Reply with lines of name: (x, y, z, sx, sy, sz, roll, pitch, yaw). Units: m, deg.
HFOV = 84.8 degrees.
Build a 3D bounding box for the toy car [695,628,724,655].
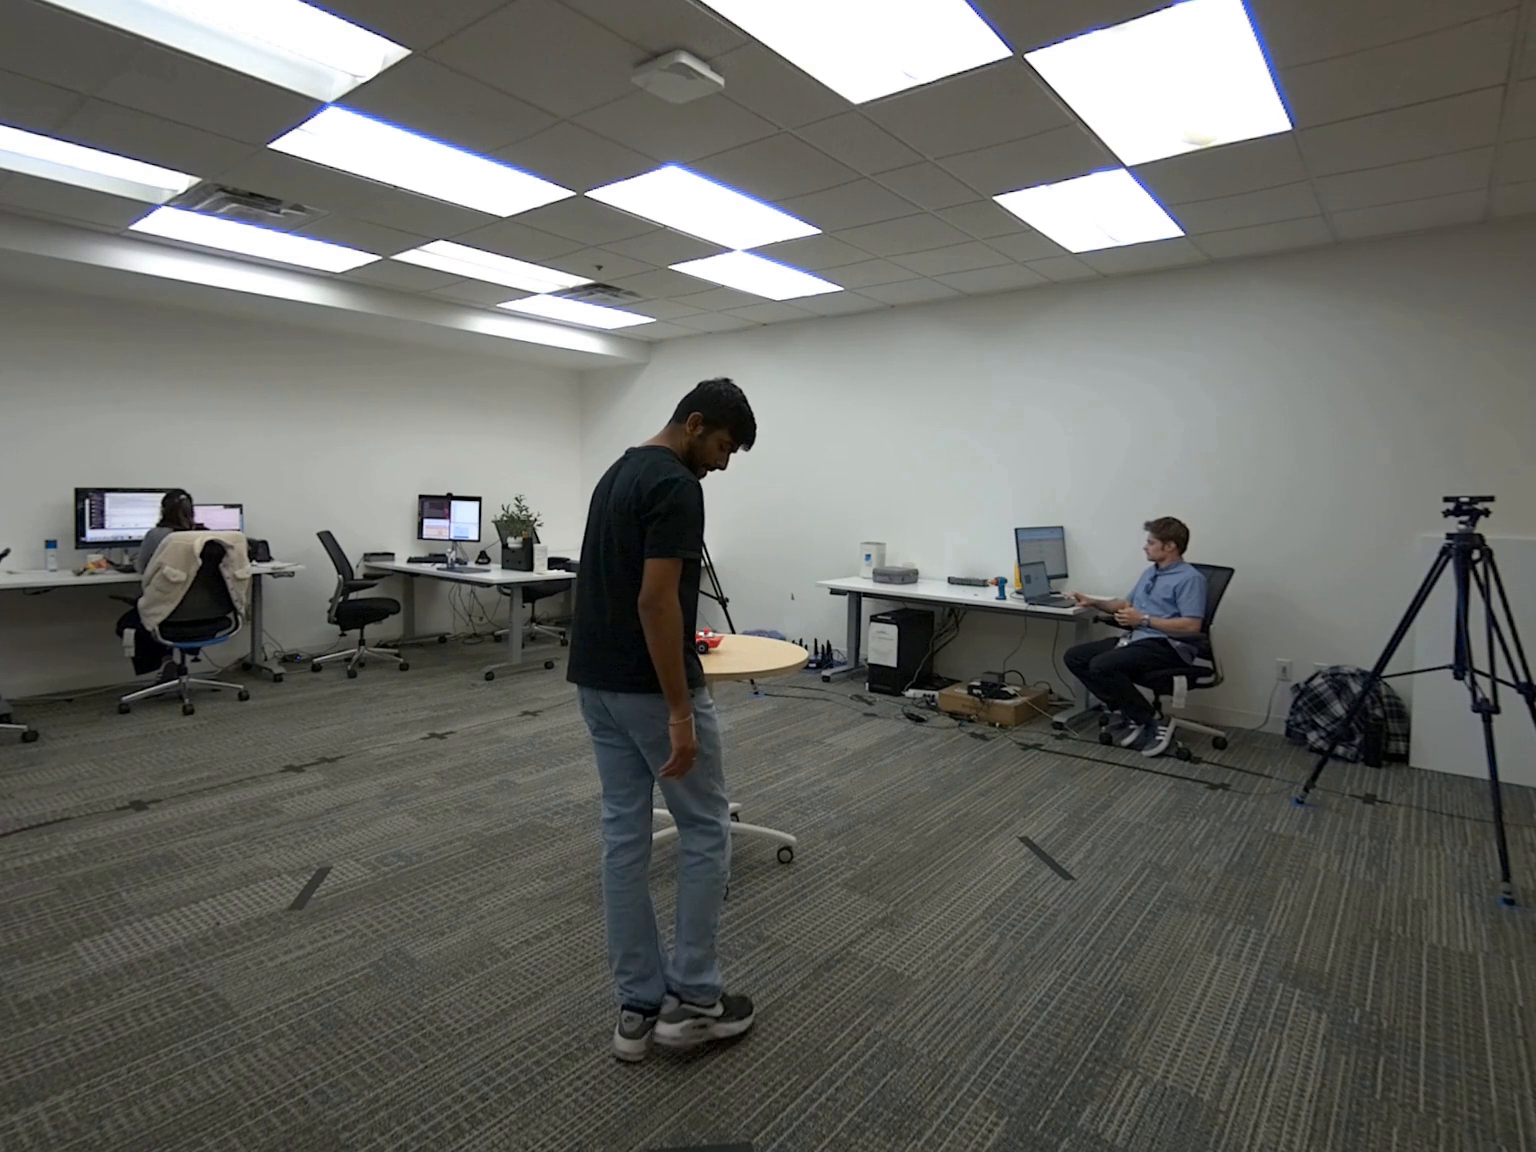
toy car: (-0.295, 0.248, 3.171, 0.256, 0.083, 0.130, -11, 4, 6)
